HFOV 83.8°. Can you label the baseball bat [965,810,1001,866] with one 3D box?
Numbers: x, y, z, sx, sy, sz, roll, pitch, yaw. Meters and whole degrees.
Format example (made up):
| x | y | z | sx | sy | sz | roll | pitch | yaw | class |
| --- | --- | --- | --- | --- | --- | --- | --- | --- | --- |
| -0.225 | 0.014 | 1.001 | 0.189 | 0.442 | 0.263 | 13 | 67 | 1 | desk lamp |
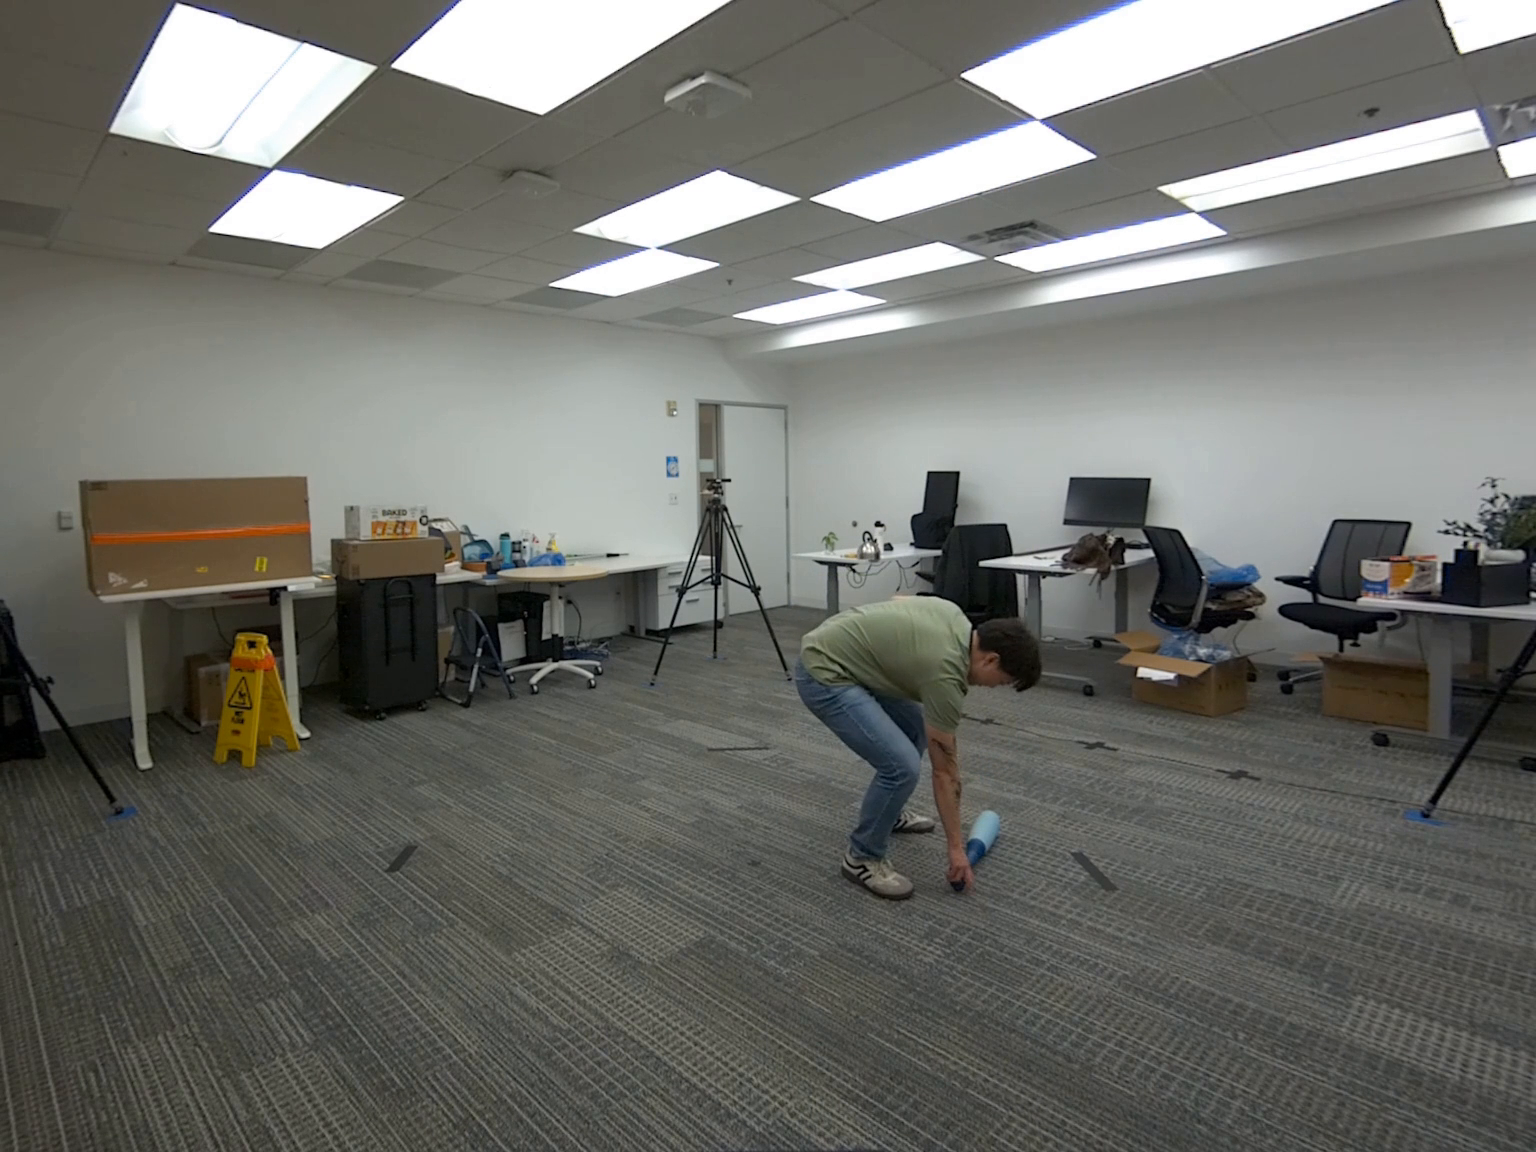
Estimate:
| x | y | z | sx | sy | sz | roll | pitch | yaw | class |
| --- | --- | --- | --- | --- | --- | --- | --- | --- | --- |
| 0.757 | 0.992 | 3.097 | 0.091 | 0.088 | 0.535 | 1 | 10 | 23 | baseball bat |
